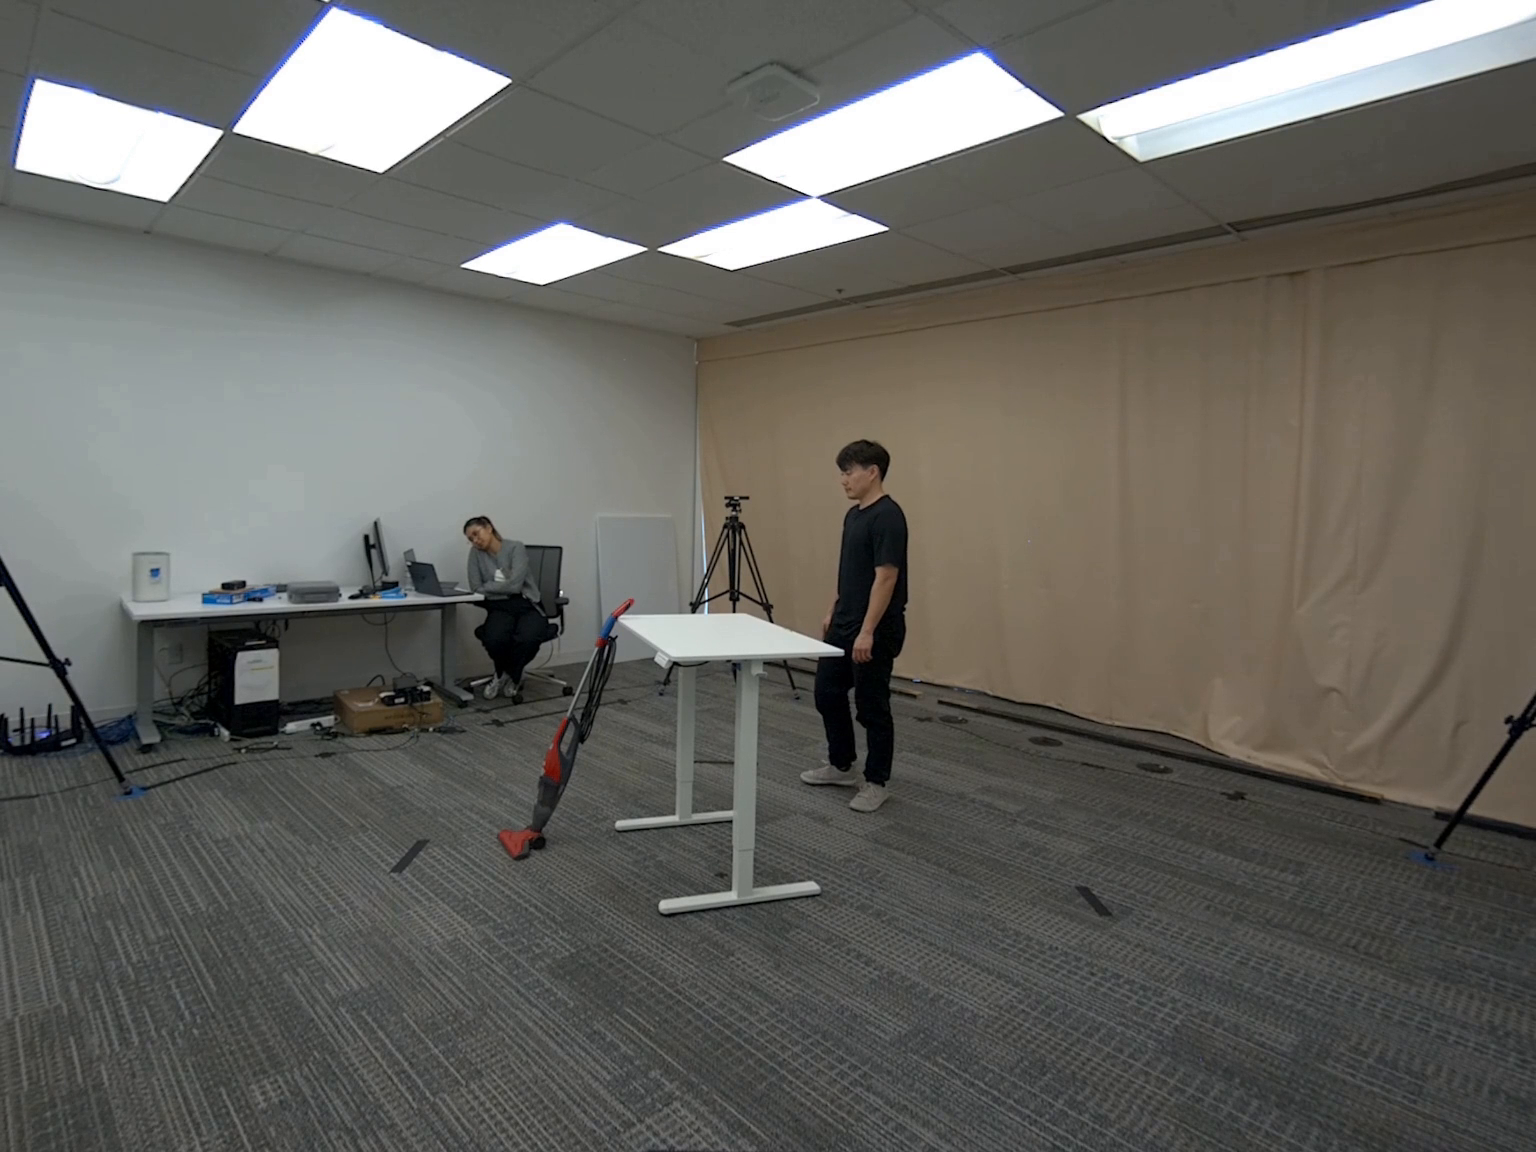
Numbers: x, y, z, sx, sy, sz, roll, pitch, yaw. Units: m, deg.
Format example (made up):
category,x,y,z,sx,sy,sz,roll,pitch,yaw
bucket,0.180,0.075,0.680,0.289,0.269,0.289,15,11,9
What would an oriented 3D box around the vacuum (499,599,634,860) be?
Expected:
category,x,y,z,sx,sy,sz,roll,pitch,yaw
vacuum,-0.782,0.583,3.410,0.140,1.053,0.259,29,-13,-36
